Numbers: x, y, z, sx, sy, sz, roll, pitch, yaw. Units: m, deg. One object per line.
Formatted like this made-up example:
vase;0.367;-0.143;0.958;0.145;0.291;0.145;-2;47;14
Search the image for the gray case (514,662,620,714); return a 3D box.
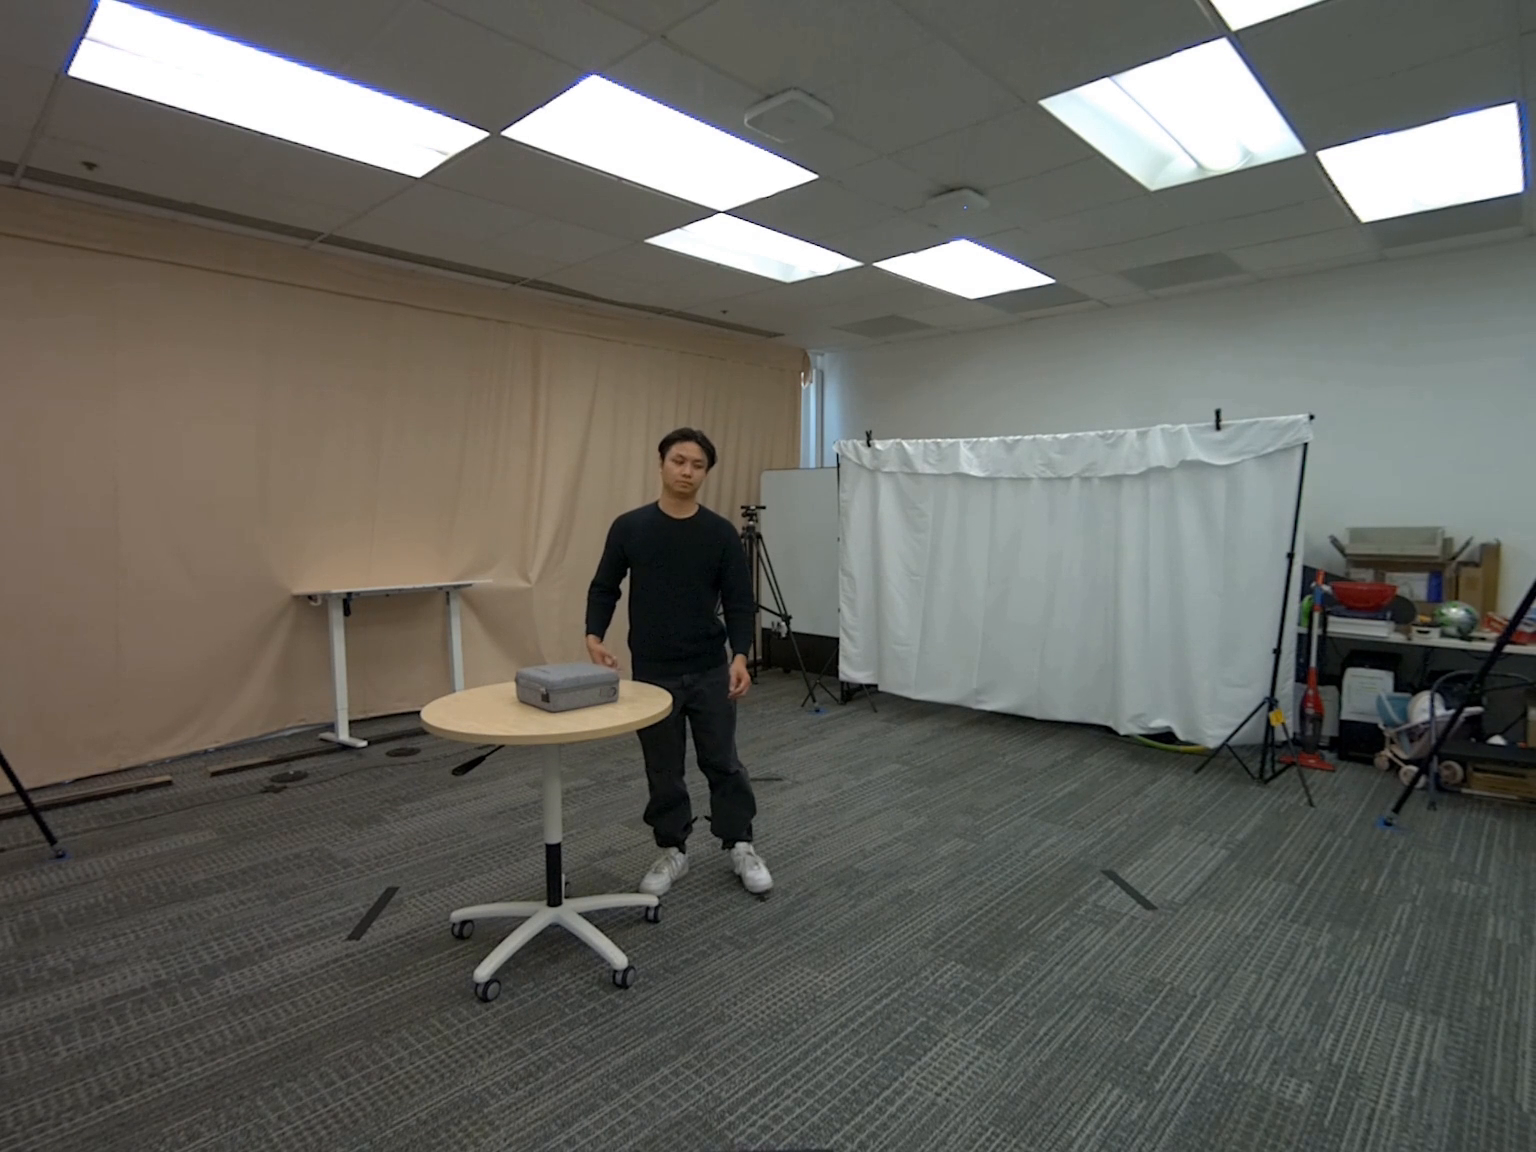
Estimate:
gray case;-0.625;0.338;2.640;0.253;0.104;0.265;-4;4;-41
